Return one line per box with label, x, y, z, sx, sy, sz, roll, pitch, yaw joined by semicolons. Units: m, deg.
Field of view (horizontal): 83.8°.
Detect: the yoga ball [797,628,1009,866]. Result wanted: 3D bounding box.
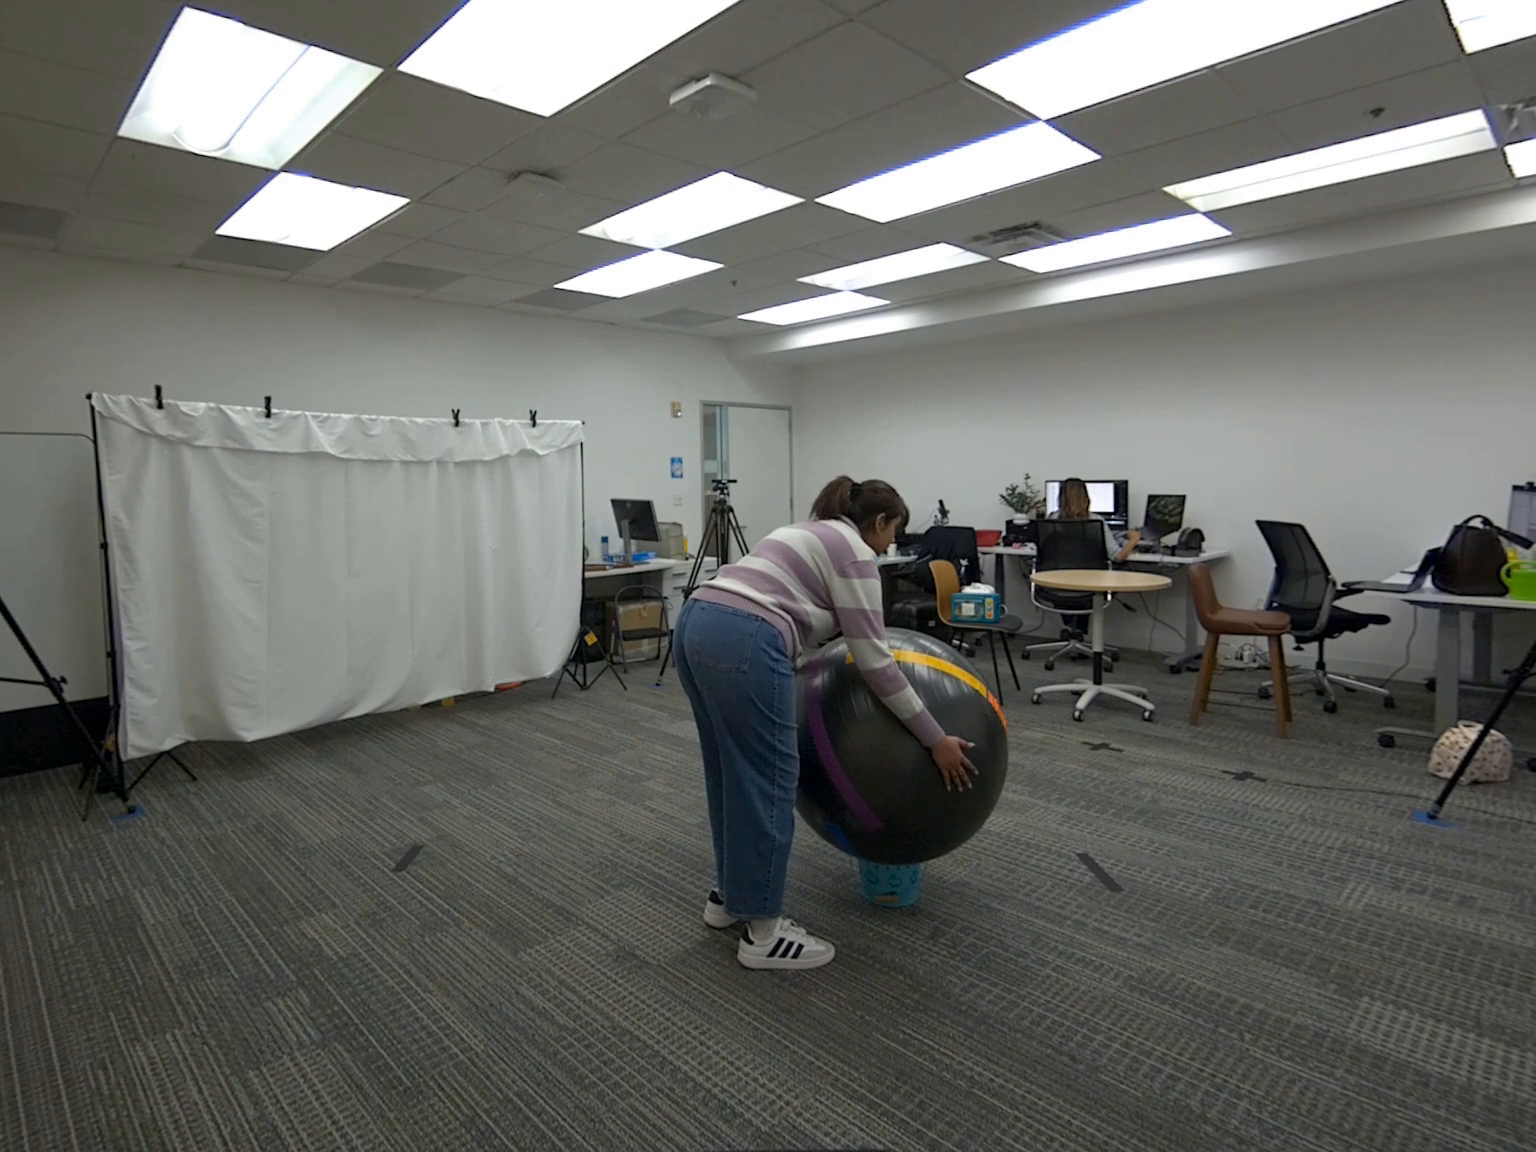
yoga ball;0.411;0.553;2.837;0.757;0.755;0.762;-1;5;-2
